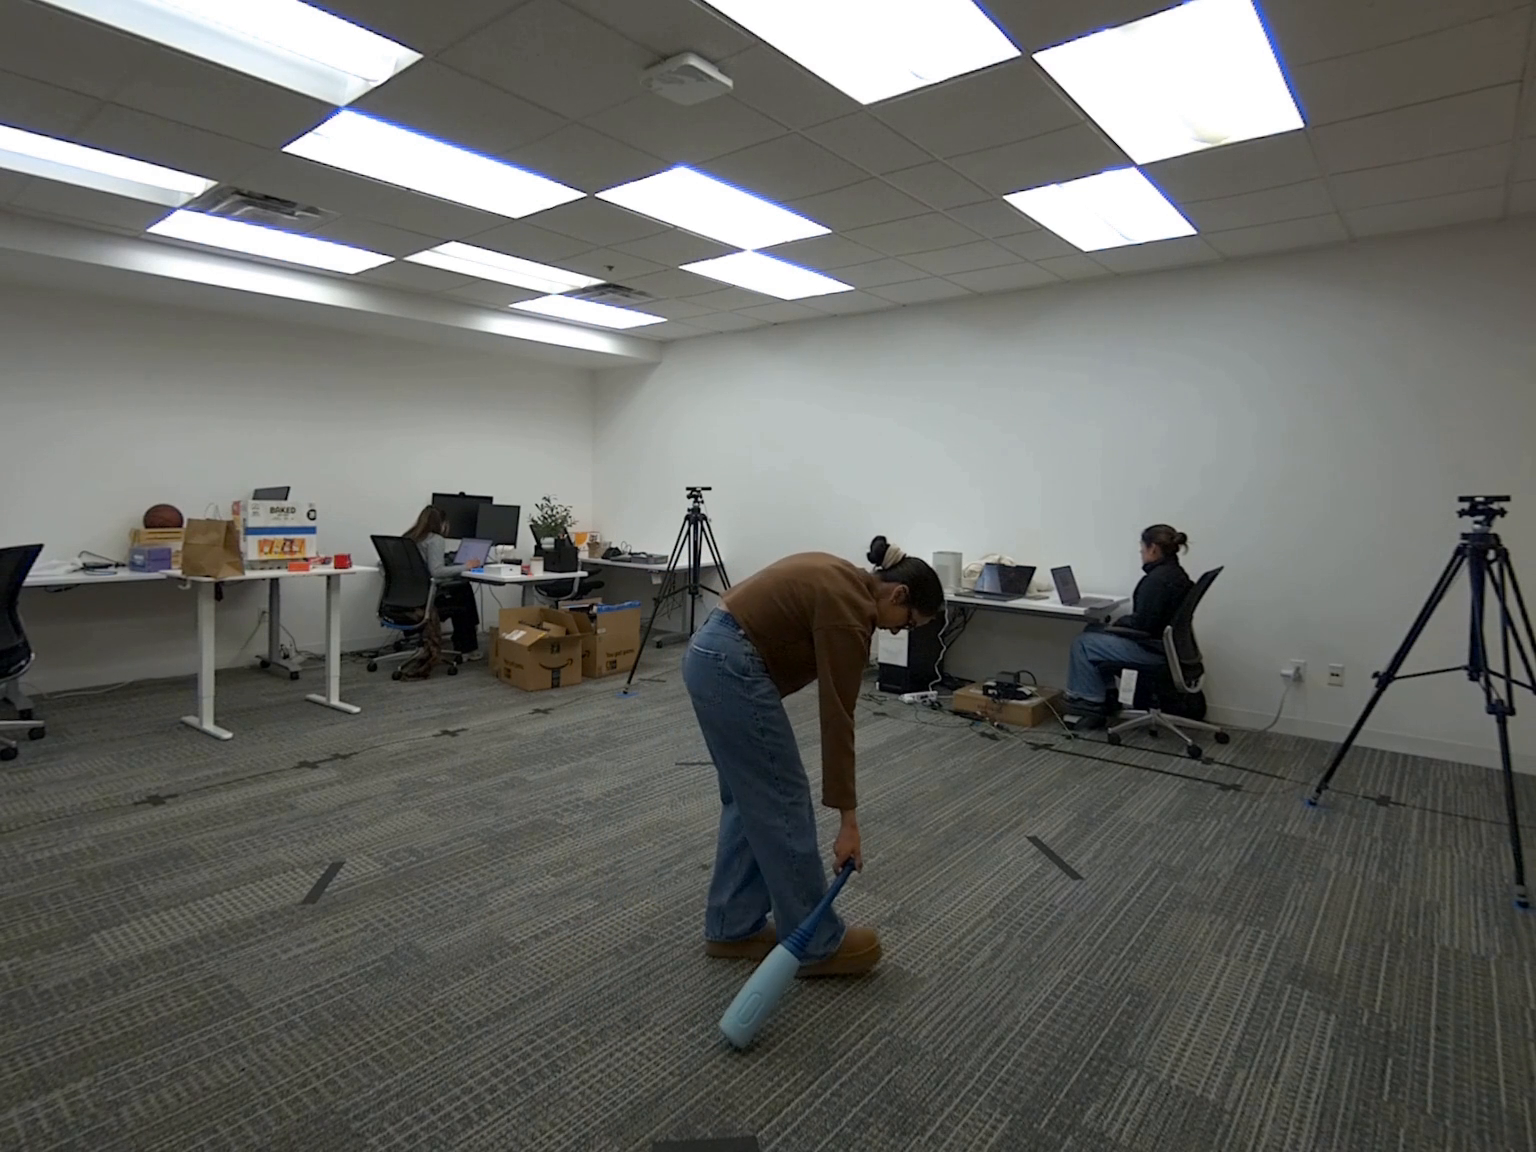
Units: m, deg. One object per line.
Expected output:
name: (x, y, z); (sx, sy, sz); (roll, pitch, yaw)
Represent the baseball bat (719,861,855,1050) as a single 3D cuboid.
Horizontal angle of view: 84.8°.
baseball bat: (0.066, 0.958, 2.200); (0.543, 0.086, 0.092); (-48, 26, -20)
